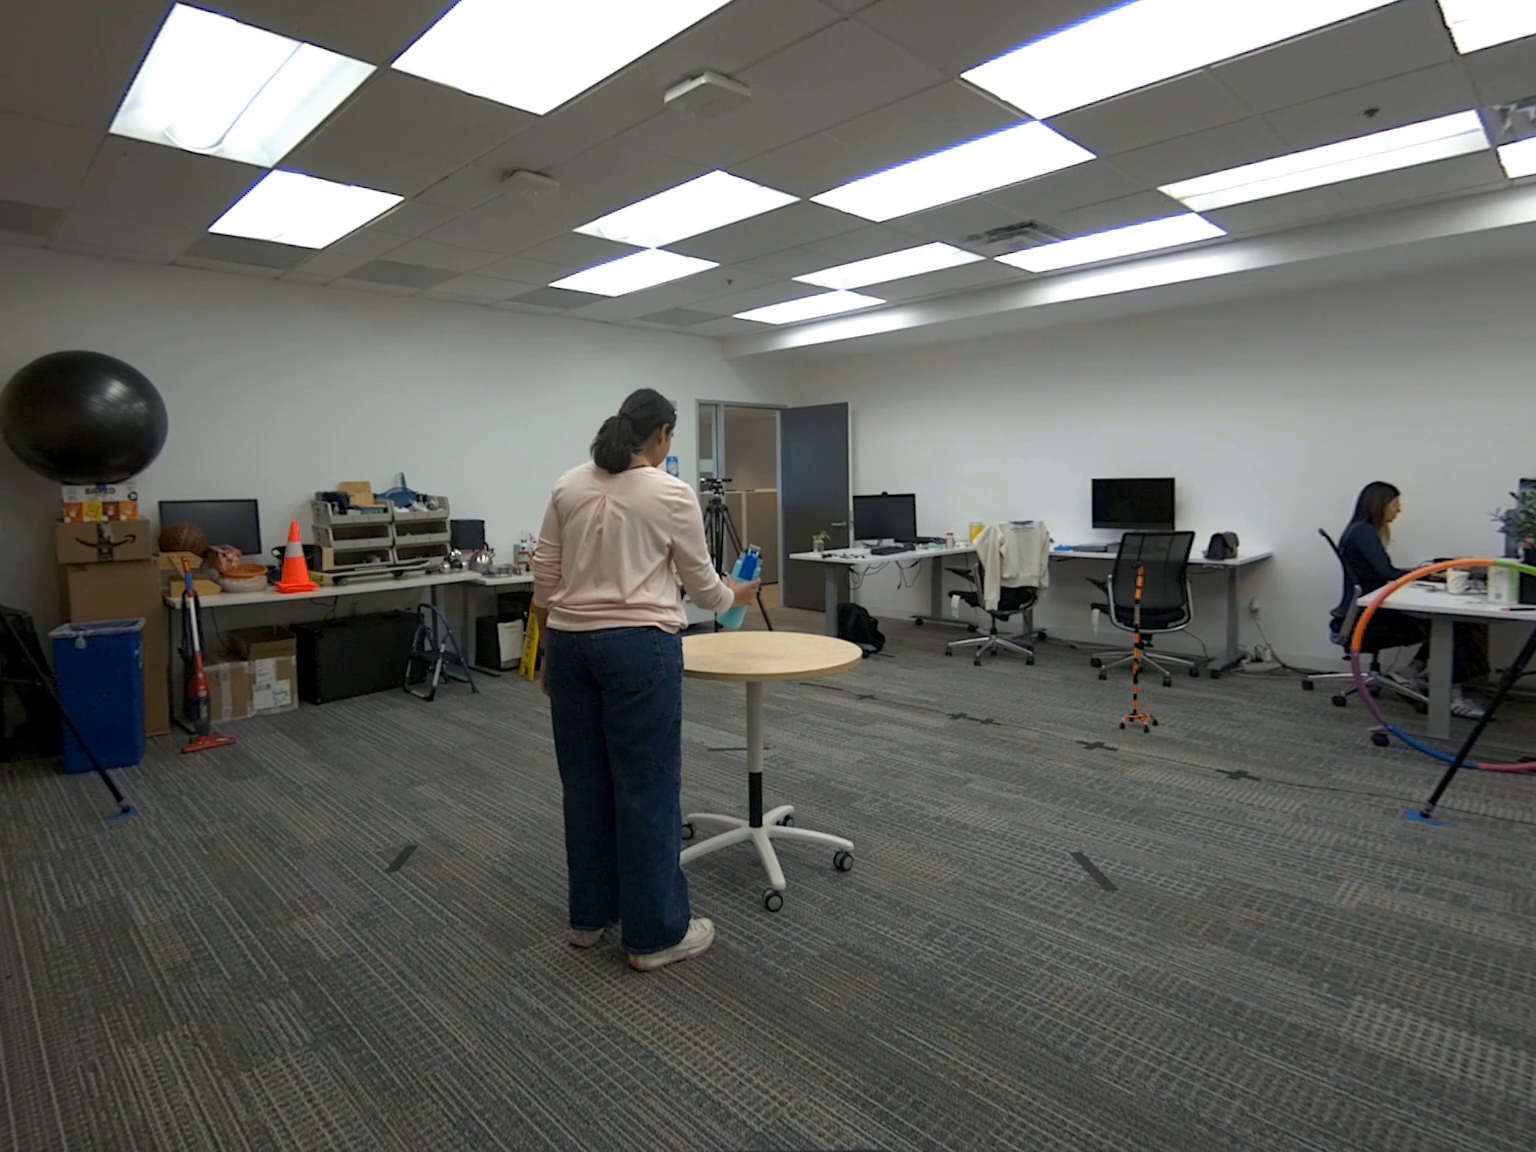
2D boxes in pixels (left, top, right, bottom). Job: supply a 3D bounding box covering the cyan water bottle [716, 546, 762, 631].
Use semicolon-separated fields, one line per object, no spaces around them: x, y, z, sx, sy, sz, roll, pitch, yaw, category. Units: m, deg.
-0.088;0.035;2.913;0.092;0.281;0.093;16;11;-5;cyan water bottle
